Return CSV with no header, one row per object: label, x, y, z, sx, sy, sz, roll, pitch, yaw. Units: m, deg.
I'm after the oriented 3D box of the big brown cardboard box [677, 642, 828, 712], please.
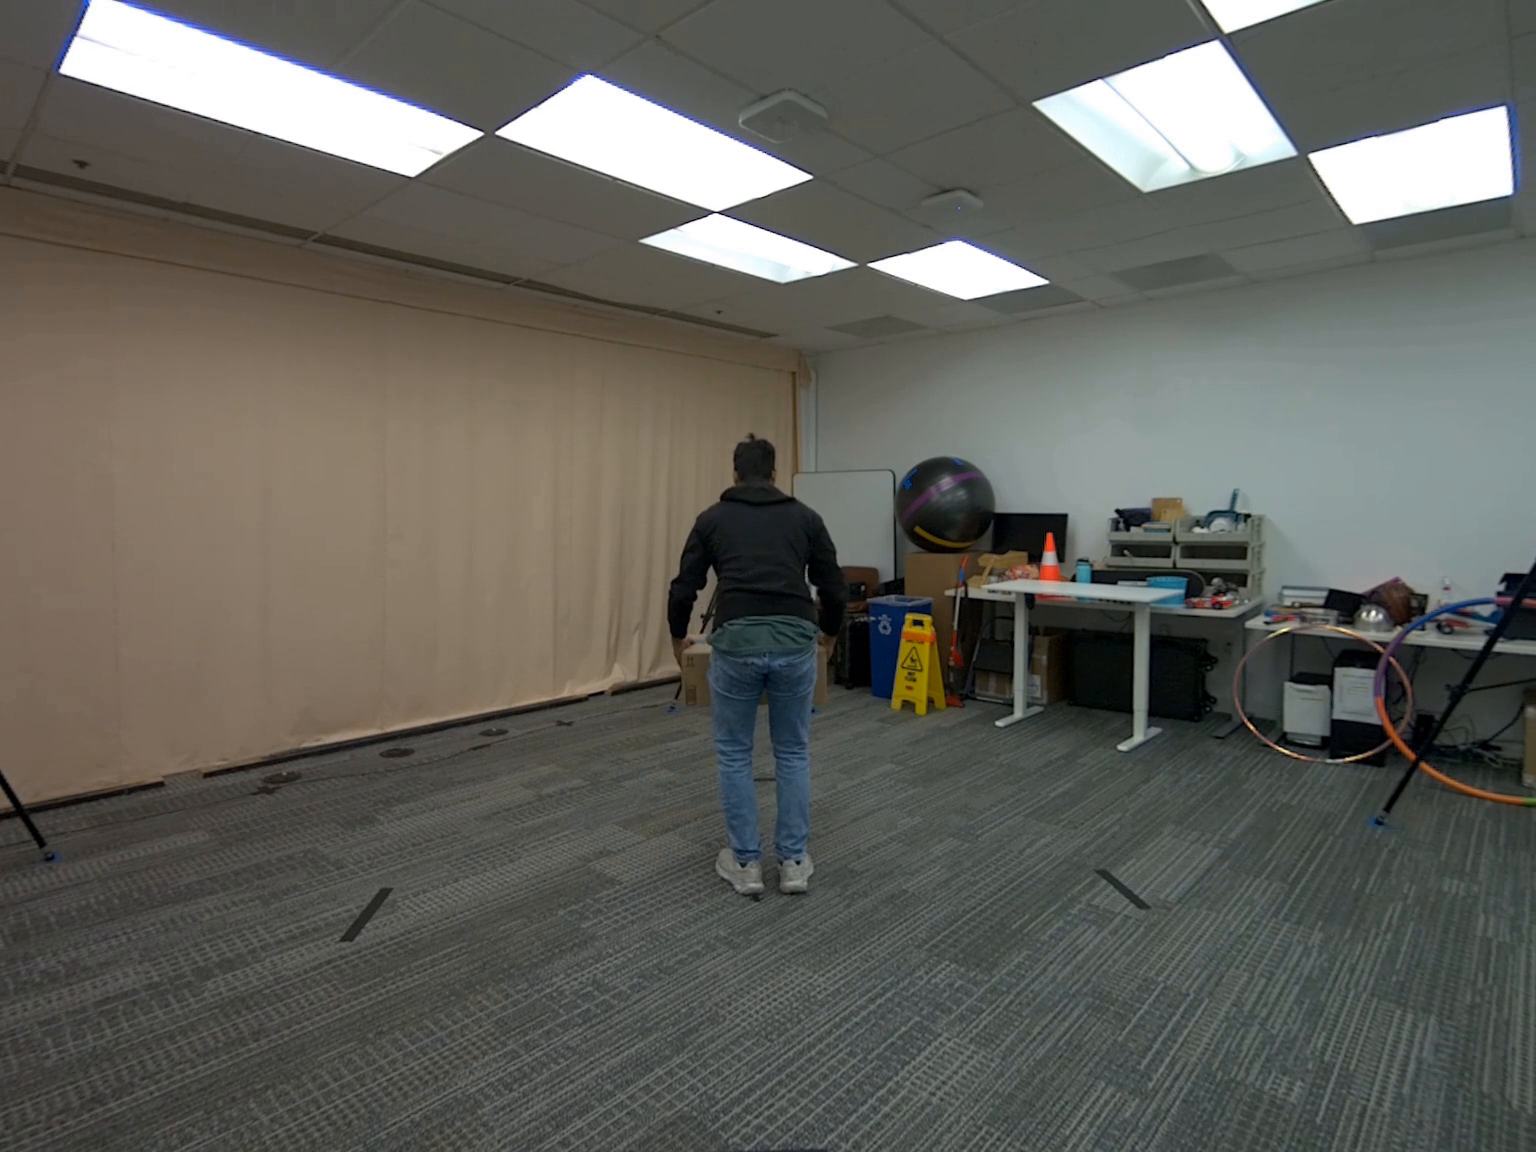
big brown cardboard box,-0.058,0.385,3.497,0.589,0.232,0.419,-3,6,-1
